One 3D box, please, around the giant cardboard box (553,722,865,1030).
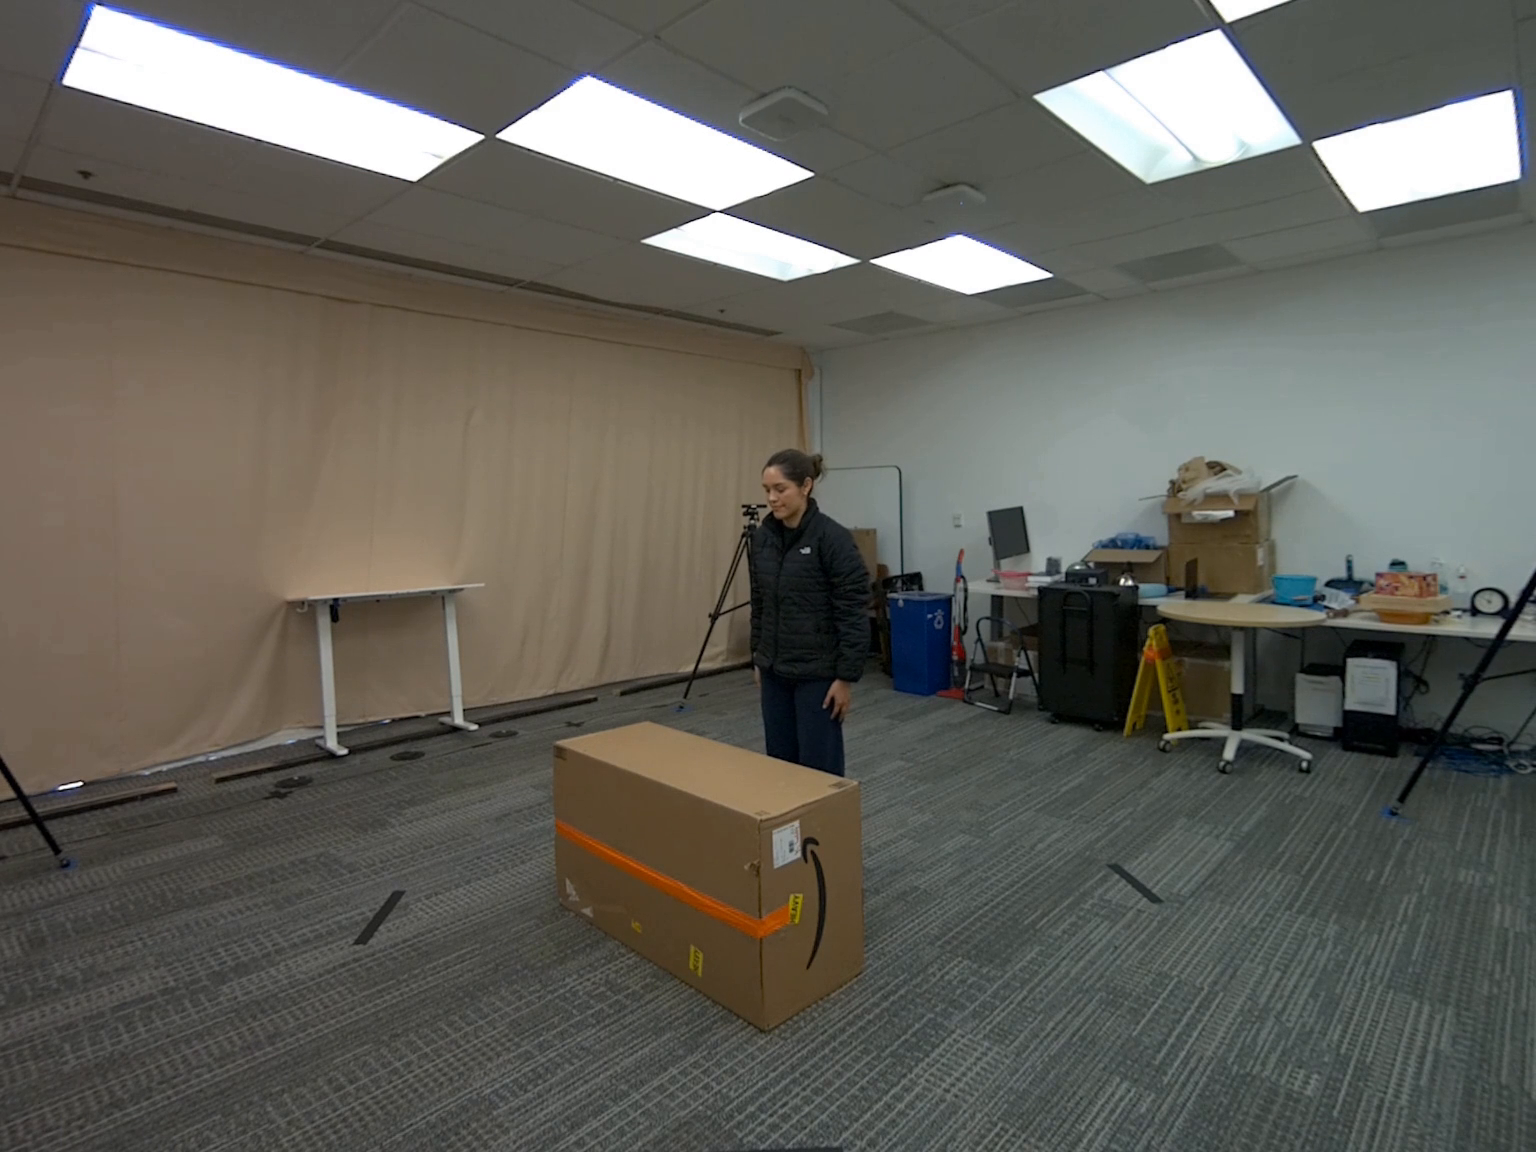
[{"bbox_3d":[-0.222,0.883,2.713,0.433,0.583,1.061,-3,4,-43],"label":"giant cardboard box"}]
